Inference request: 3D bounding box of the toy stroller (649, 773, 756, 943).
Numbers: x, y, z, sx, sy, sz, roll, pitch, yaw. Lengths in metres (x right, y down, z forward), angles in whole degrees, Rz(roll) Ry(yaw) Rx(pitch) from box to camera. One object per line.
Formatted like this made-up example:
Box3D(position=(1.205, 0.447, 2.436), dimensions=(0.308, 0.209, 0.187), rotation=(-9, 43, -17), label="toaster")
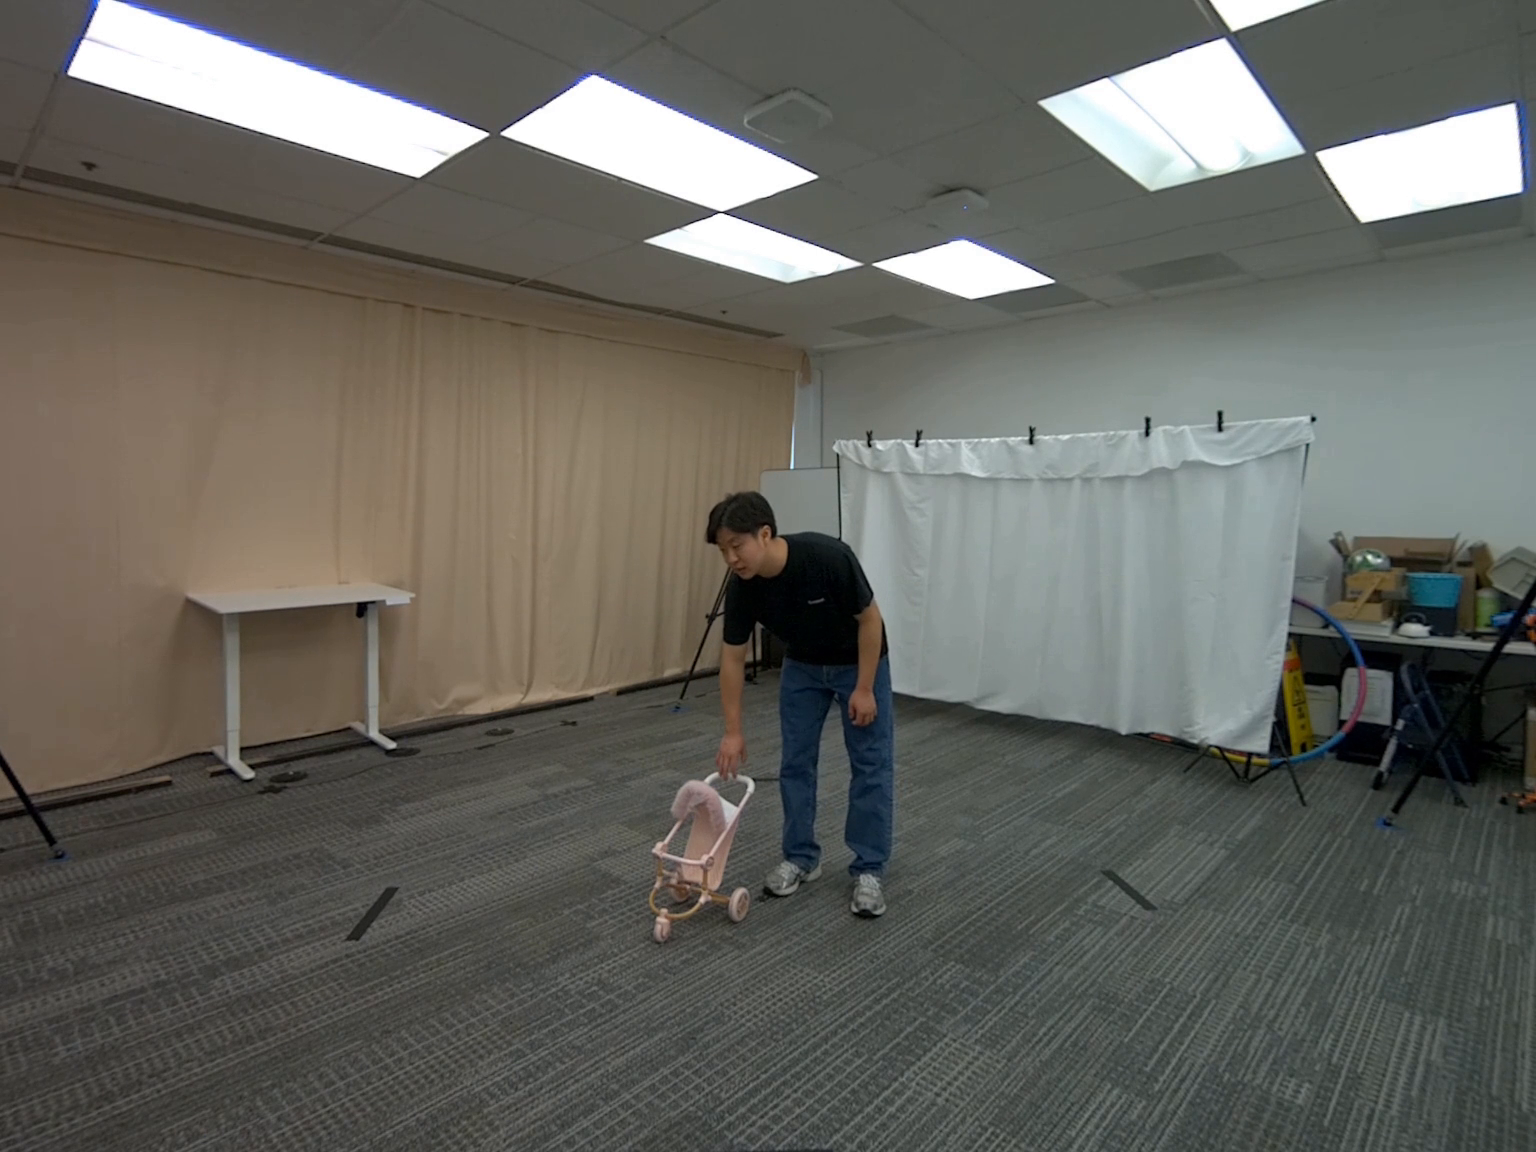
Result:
Box3D(position=(-0.236, 0.930, 2.837), dimensions=(0.290, 0.537, 0.329), rotation=(1, -12, 38), label="toy stroller")
